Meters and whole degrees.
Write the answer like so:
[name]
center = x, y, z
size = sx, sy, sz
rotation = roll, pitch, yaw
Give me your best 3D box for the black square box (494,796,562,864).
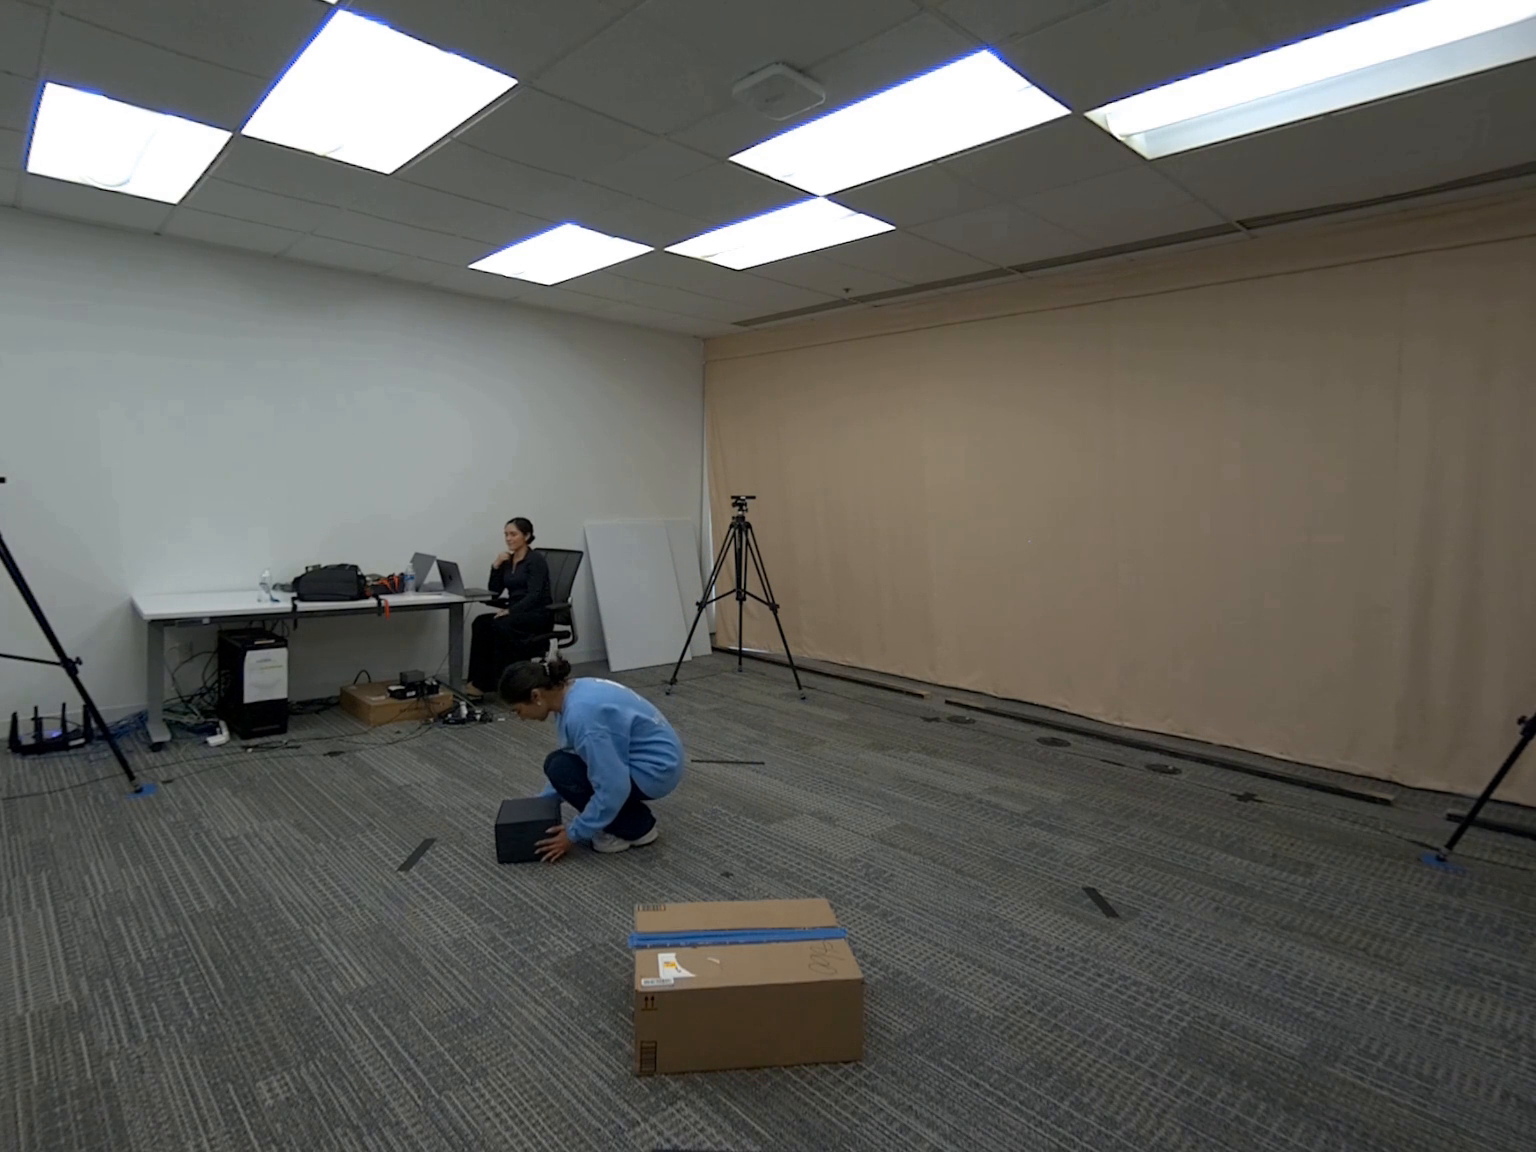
[black square box]
center = -0.931, 0.955, 3.249
size = 0.226, 0.155, 0.219
rotation = -2, 9, -8
